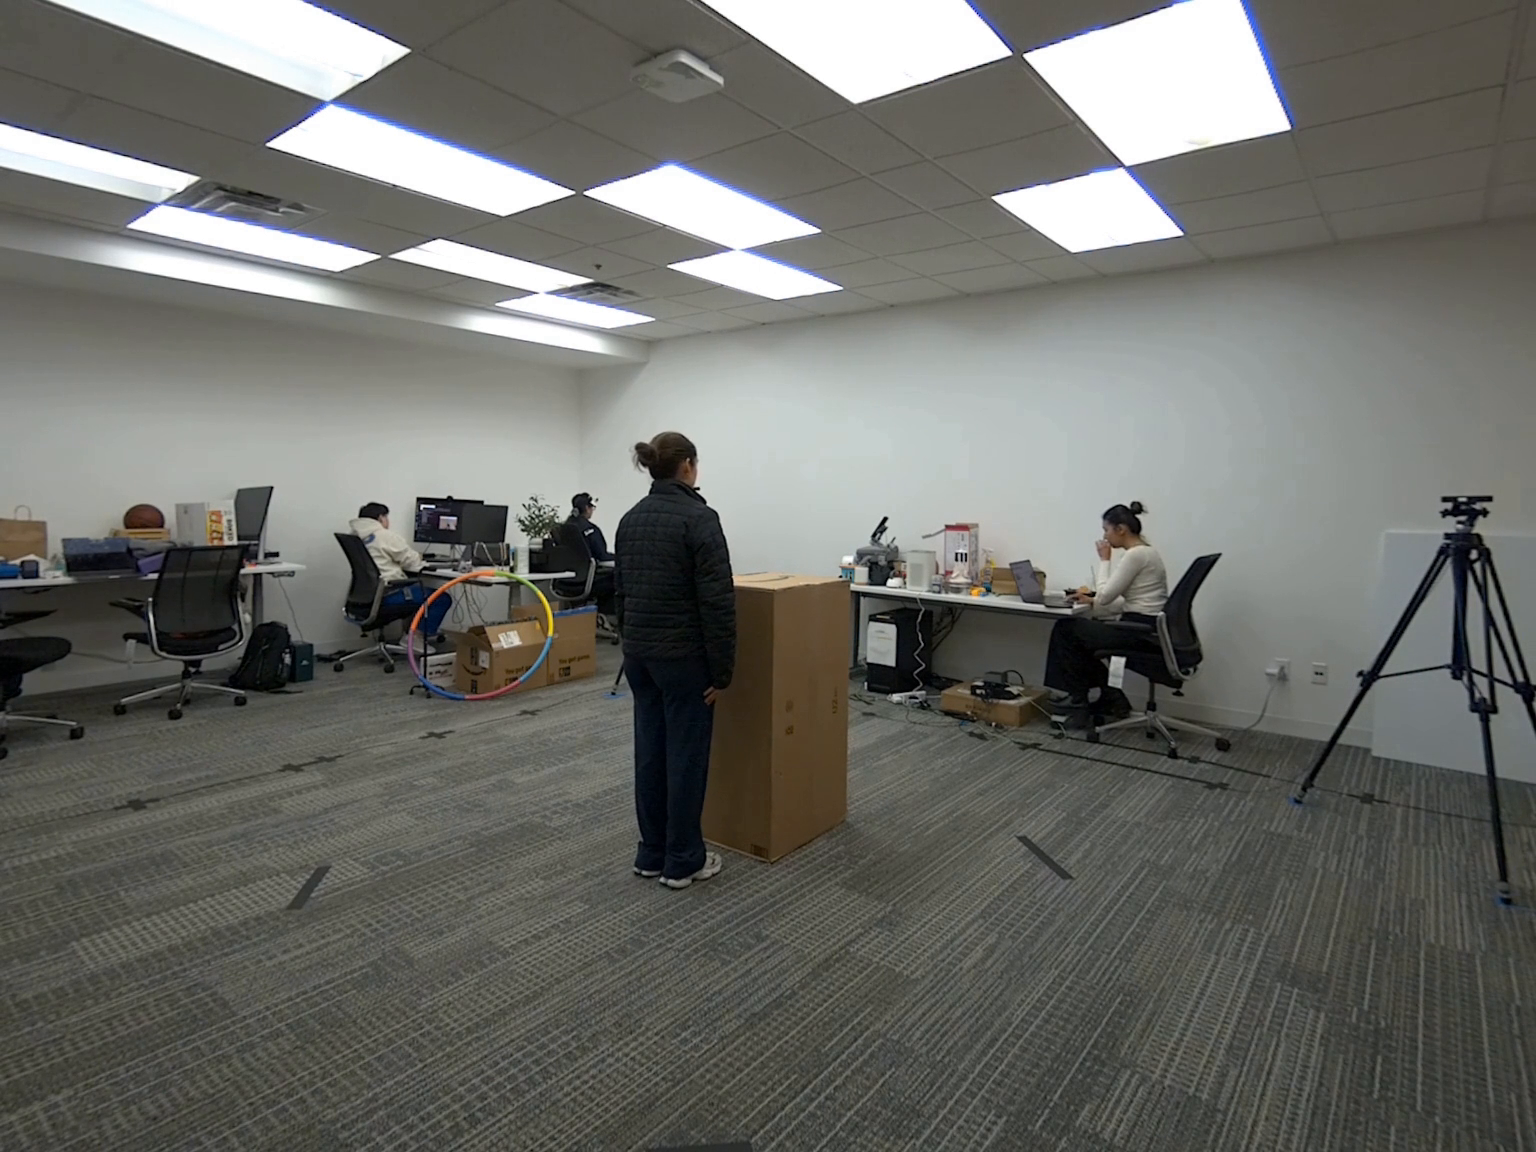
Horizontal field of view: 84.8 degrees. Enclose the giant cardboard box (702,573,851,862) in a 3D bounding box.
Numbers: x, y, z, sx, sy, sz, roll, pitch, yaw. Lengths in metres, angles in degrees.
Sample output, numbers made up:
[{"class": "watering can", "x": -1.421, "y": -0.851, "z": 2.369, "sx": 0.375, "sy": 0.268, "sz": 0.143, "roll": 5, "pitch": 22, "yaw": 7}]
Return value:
[{"class": "giant cardboard box", "x": 0.026, "y": 0.523, "z": 3.491, "sx": 0.440, "sy": 1.023, "sz": 0.561, "roll": 3, "pitch": 4, "yaw": 37}]
